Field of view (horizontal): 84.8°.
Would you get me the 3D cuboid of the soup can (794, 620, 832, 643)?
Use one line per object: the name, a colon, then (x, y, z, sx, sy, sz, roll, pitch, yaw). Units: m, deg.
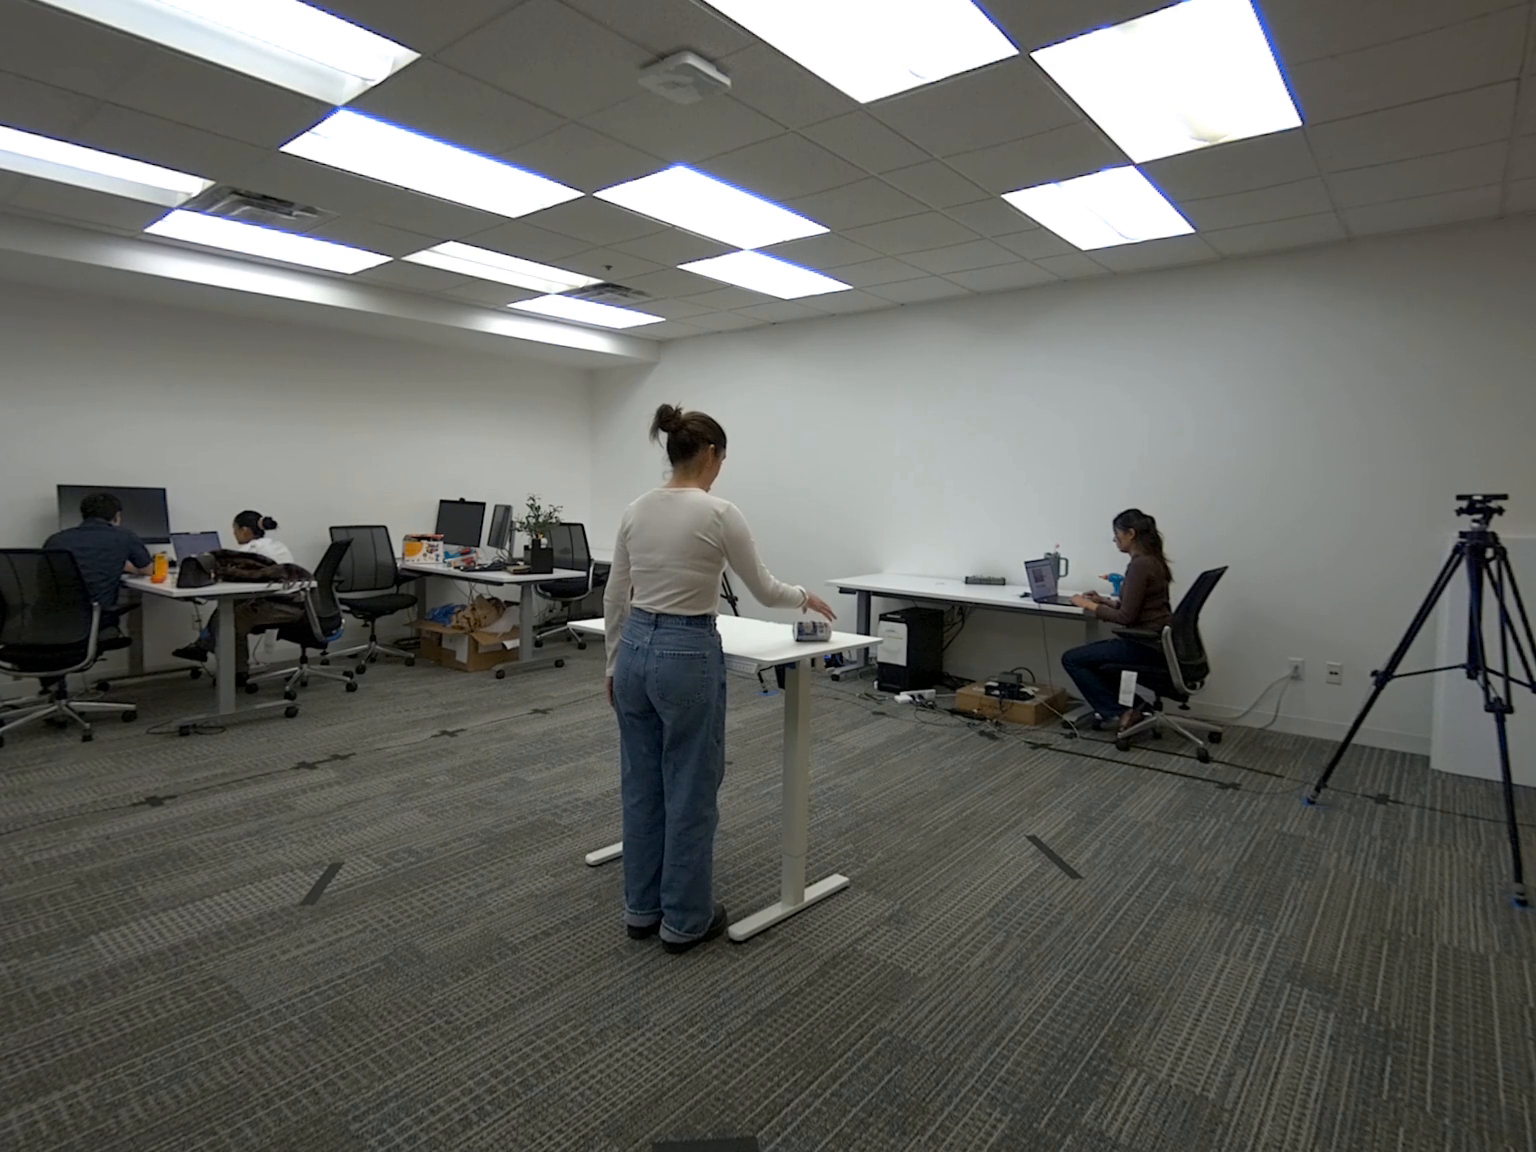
soup can: (0.154, 0.179, 2.833, 0.065, 0.067, 0.125, -2, 6, -33)
